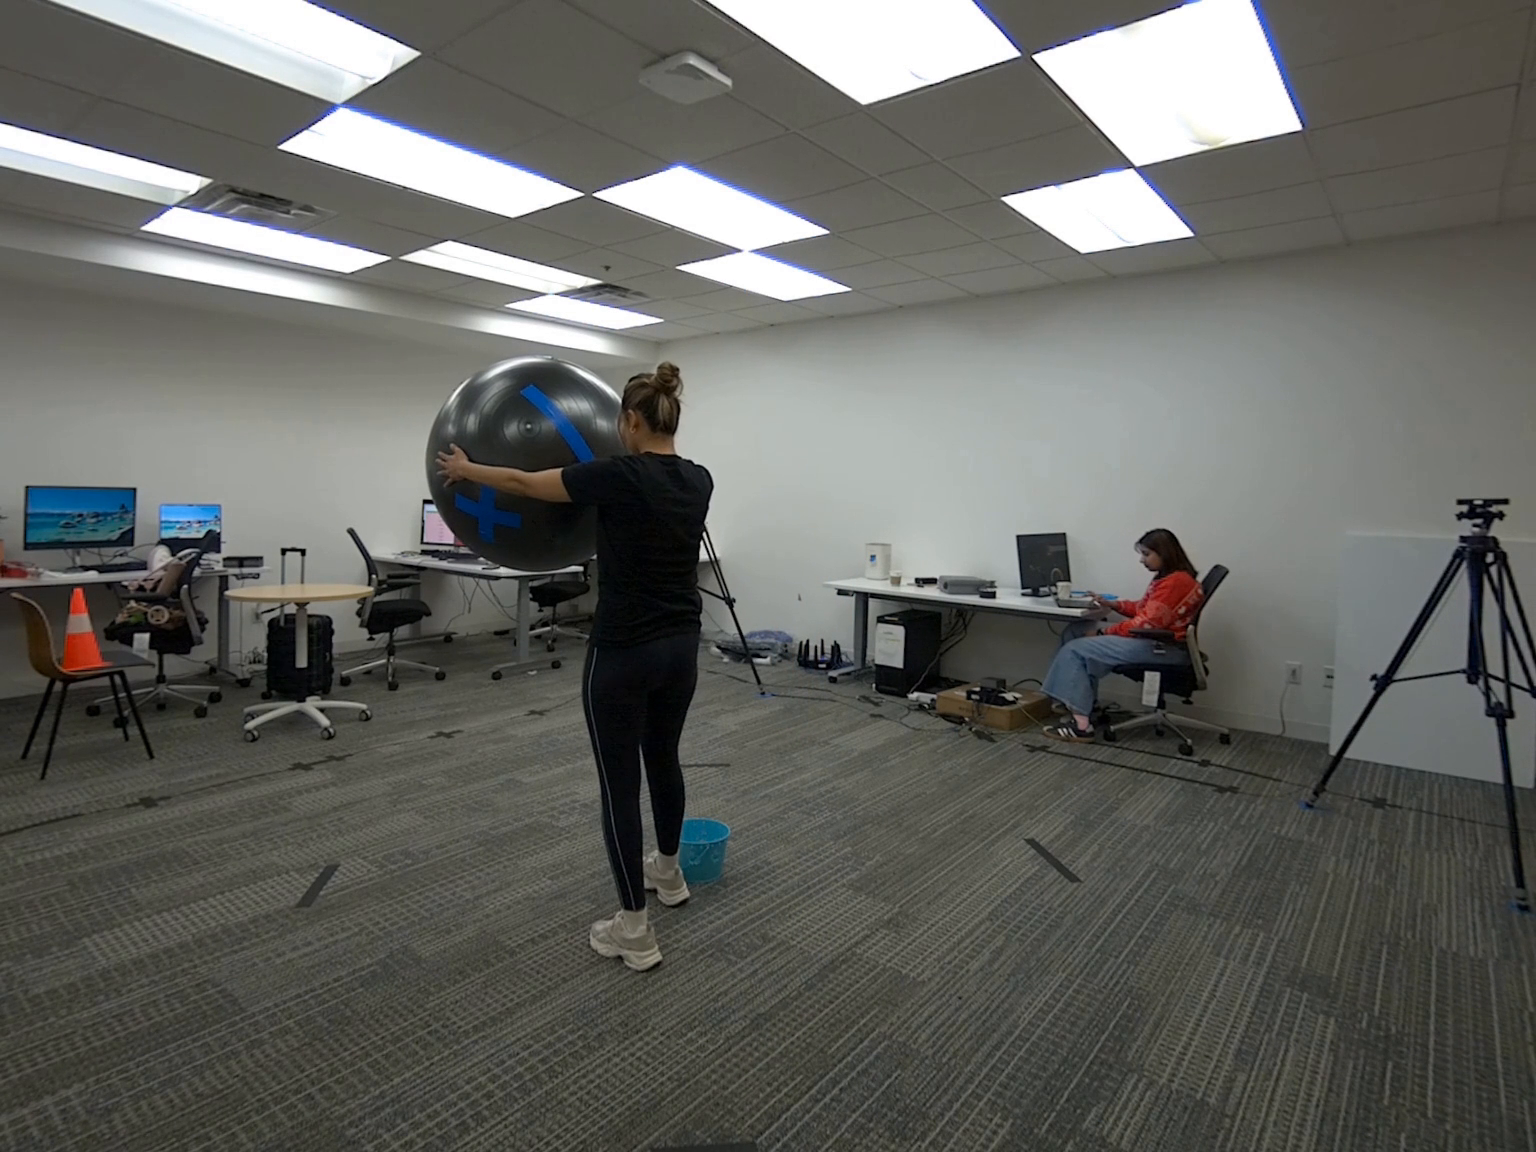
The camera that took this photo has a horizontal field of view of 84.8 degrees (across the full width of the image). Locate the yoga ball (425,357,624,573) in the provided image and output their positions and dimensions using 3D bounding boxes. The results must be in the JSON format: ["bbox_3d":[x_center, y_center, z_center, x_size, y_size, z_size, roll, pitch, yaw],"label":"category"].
[{"bbox_3d":[-0.823,-0.388,3.020,0.757,0.756,0.762,1,4,-2],"label":"yoga ball"}]
